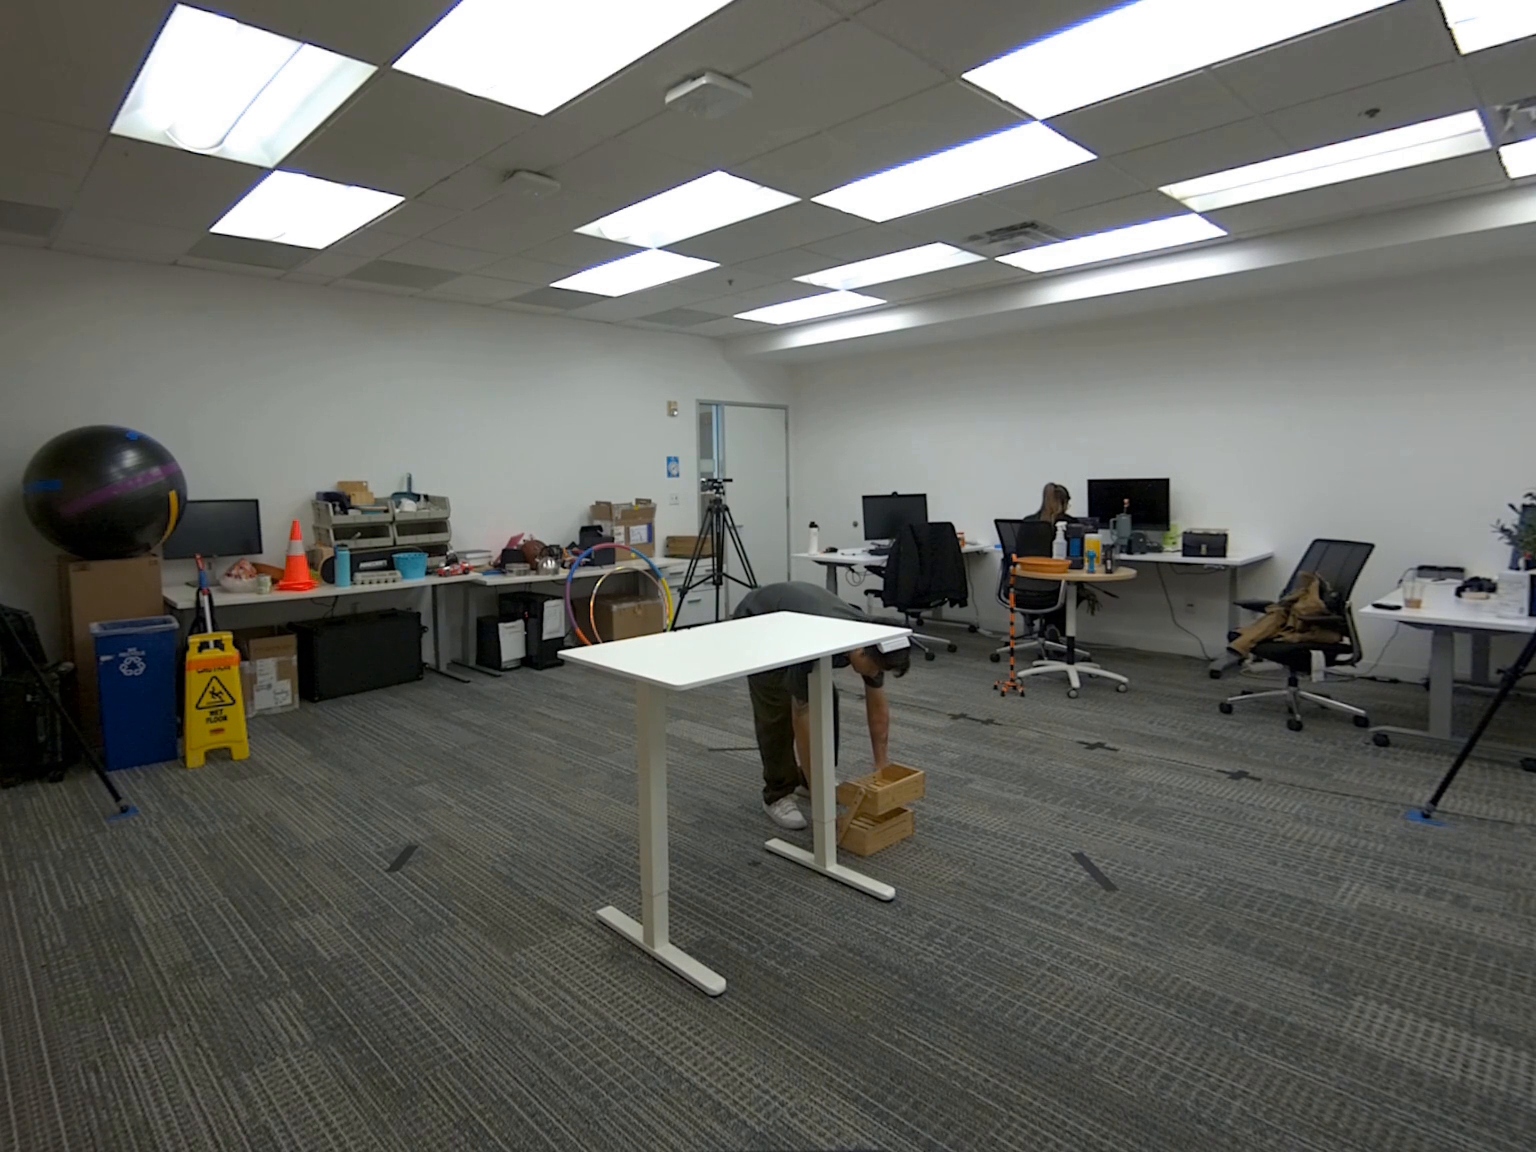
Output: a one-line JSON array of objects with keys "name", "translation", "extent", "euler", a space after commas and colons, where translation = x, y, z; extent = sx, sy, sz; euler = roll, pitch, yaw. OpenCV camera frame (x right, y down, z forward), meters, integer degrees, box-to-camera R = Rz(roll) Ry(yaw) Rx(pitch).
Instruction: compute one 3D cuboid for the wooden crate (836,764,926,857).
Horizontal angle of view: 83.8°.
[{"name": "wooden crate", "translation": [0.392, 0.881, 3.309], "extent": [0.316, 0.272, 0.311], "euler": [-6, 7, -43]}]
